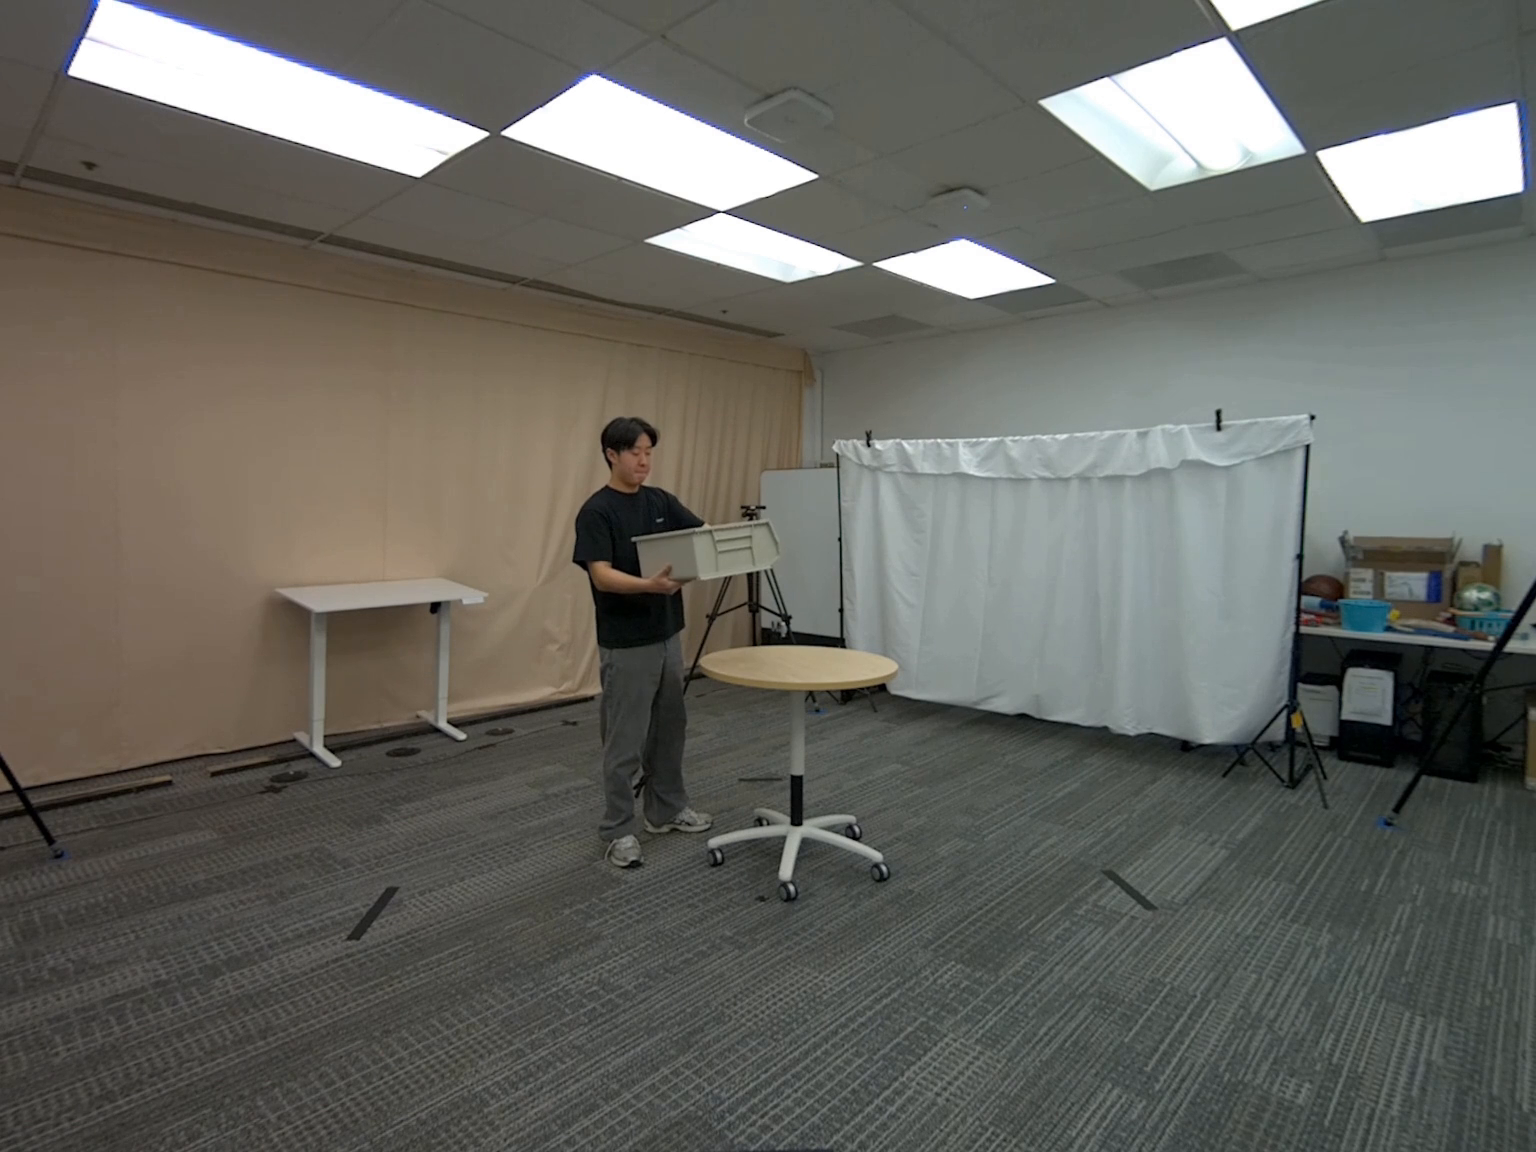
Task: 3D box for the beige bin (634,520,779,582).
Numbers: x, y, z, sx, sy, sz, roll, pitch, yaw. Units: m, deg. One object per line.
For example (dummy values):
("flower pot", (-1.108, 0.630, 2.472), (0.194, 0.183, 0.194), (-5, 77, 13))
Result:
("beige bin", (-0.225, -0.089, 3.127), (0.367, 0.188, 0.435), (-11, 5, -38))
